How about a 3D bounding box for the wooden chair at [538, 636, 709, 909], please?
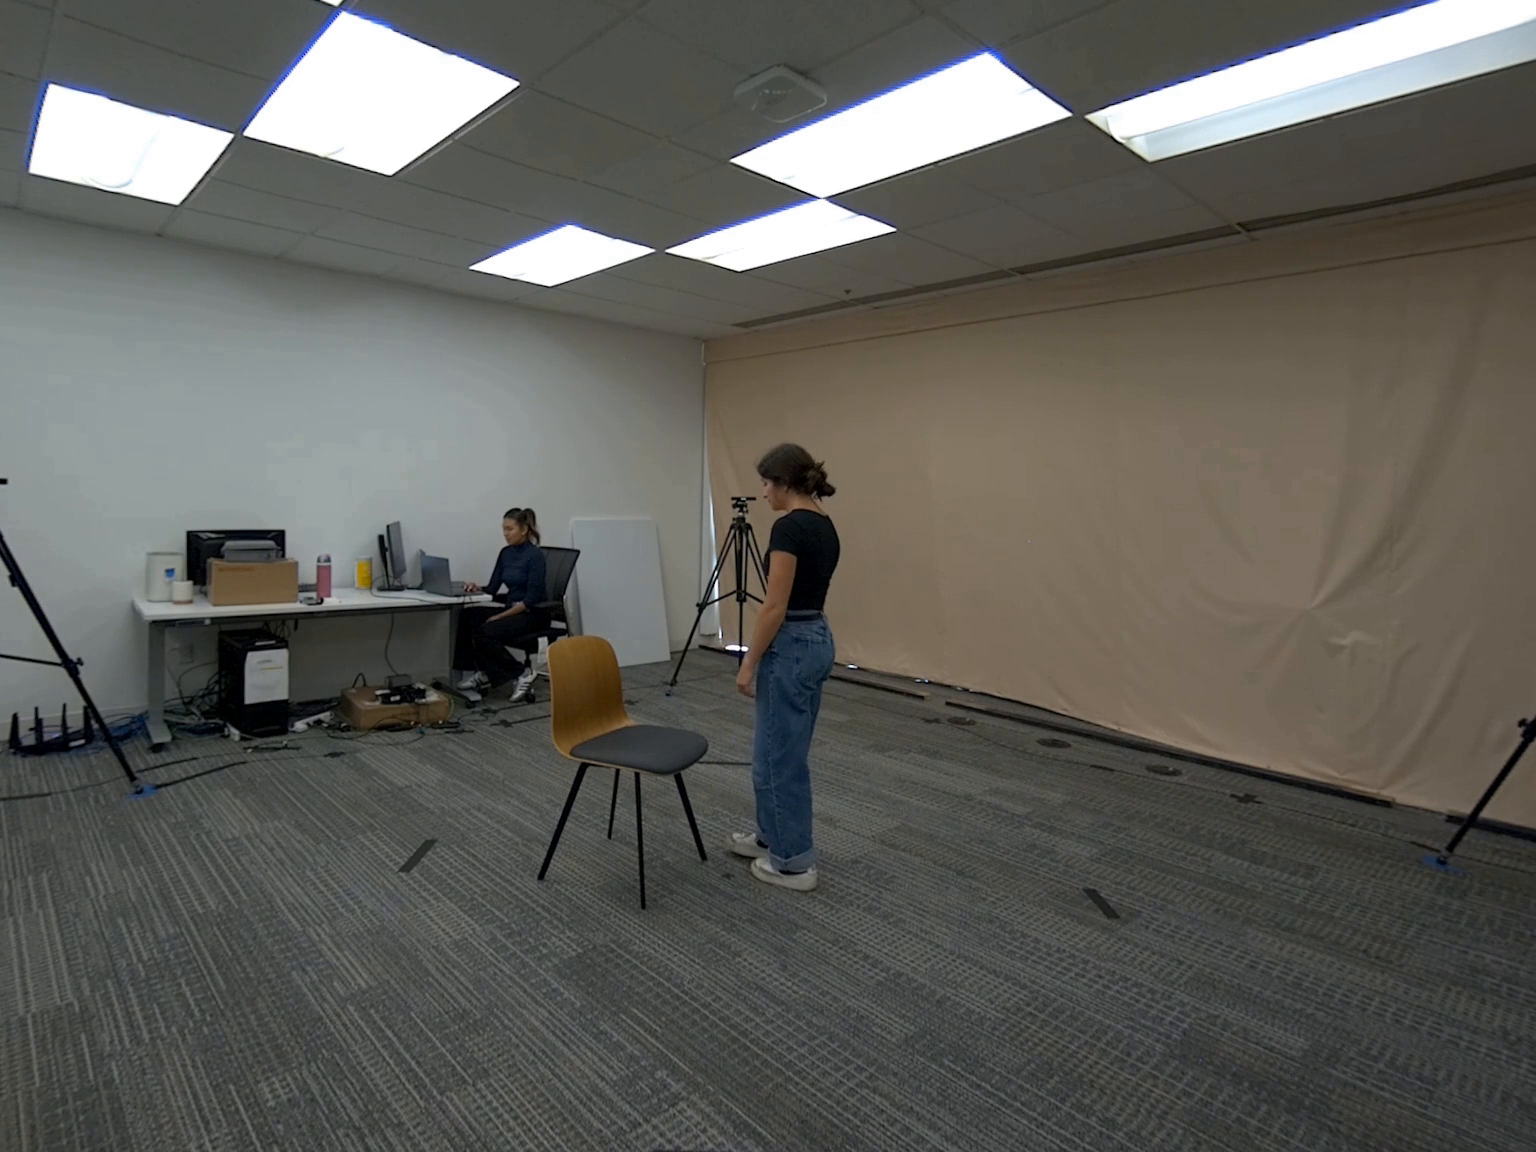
[{"bbox_3d":[-0.514,0.668,3.097,0.533,0.876,0.470,-2,2,26],"label":"wooden chair"}]
